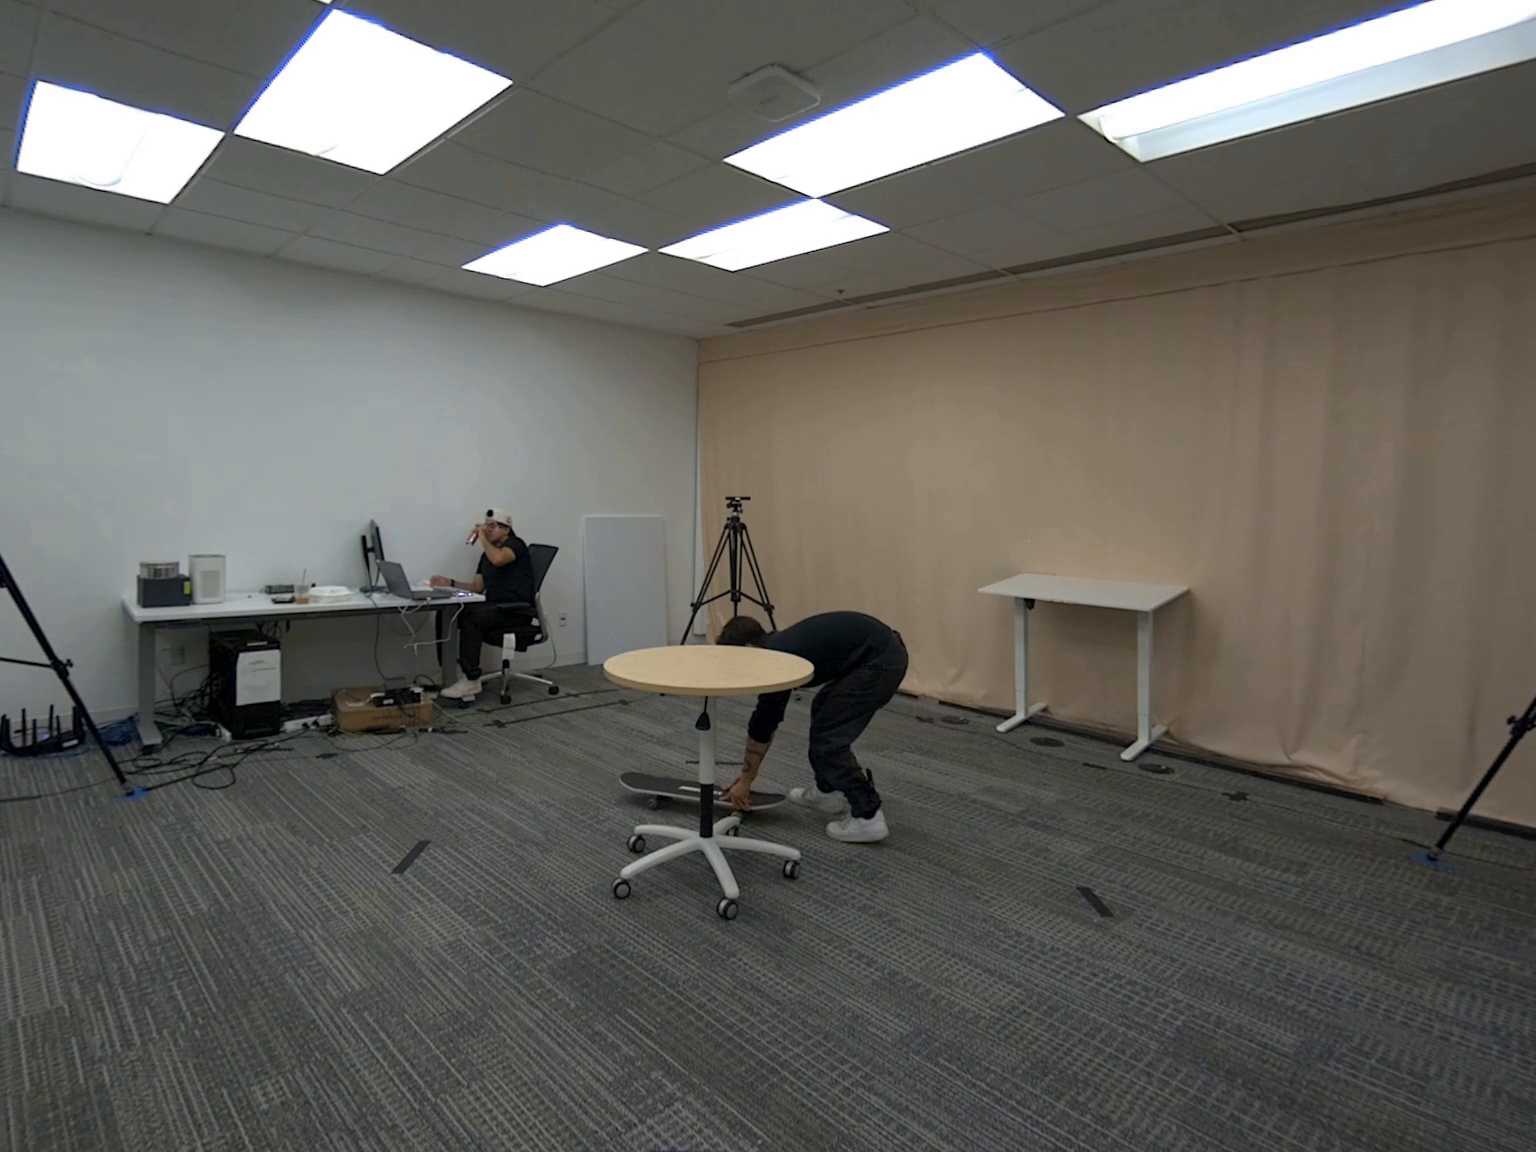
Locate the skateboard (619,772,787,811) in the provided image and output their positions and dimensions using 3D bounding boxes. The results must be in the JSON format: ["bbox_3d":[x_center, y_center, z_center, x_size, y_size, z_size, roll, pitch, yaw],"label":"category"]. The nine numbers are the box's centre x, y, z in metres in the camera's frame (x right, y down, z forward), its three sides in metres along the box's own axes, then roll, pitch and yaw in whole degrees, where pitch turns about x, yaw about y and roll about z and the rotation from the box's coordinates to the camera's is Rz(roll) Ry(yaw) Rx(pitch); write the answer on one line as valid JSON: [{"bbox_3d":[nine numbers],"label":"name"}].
[{"bbox_3d":[-0.305,0.981,3.753,0.798,0.110,0.191,3,4,19],"label":"skateboard"}]
